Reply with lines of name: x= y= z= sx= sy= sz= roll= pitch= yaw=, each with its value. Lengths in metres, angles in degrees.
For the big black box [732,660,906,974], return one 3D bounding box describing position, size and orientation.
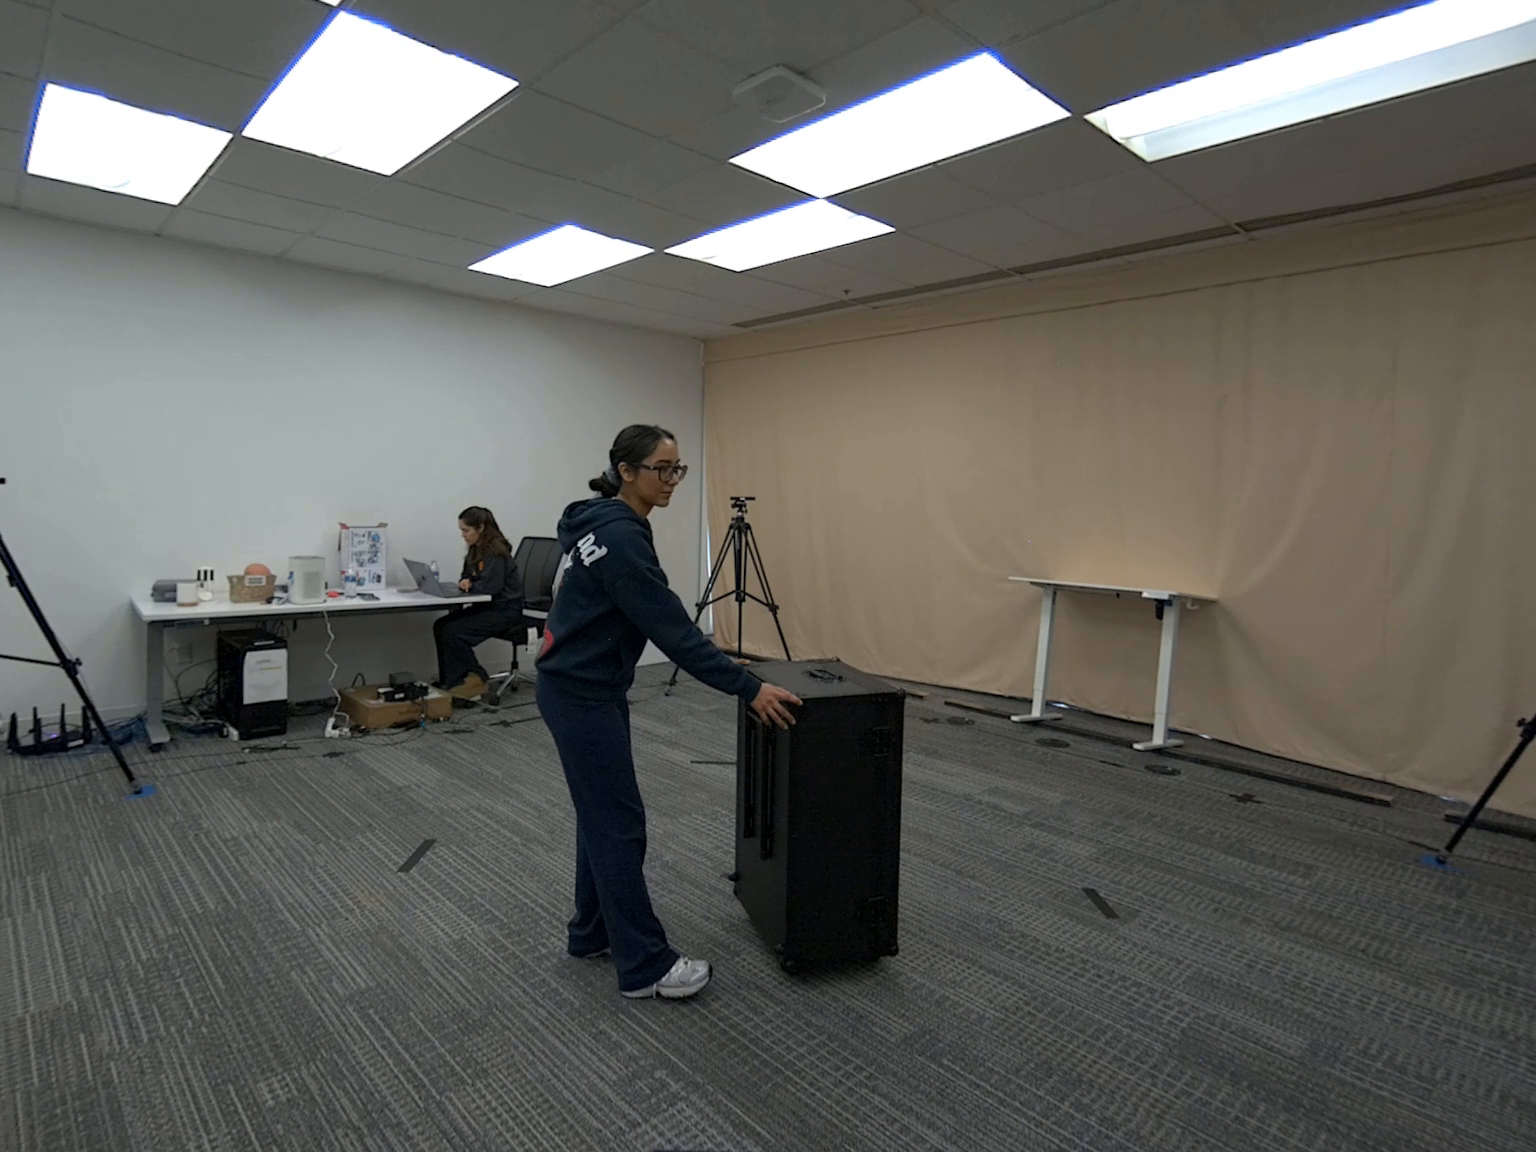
big black box: x=0.134 y=0.736 z=2.605 sx=0.391 sy=0.858 sz=0.530 roll=-2 pitch=5 yaw=-19
